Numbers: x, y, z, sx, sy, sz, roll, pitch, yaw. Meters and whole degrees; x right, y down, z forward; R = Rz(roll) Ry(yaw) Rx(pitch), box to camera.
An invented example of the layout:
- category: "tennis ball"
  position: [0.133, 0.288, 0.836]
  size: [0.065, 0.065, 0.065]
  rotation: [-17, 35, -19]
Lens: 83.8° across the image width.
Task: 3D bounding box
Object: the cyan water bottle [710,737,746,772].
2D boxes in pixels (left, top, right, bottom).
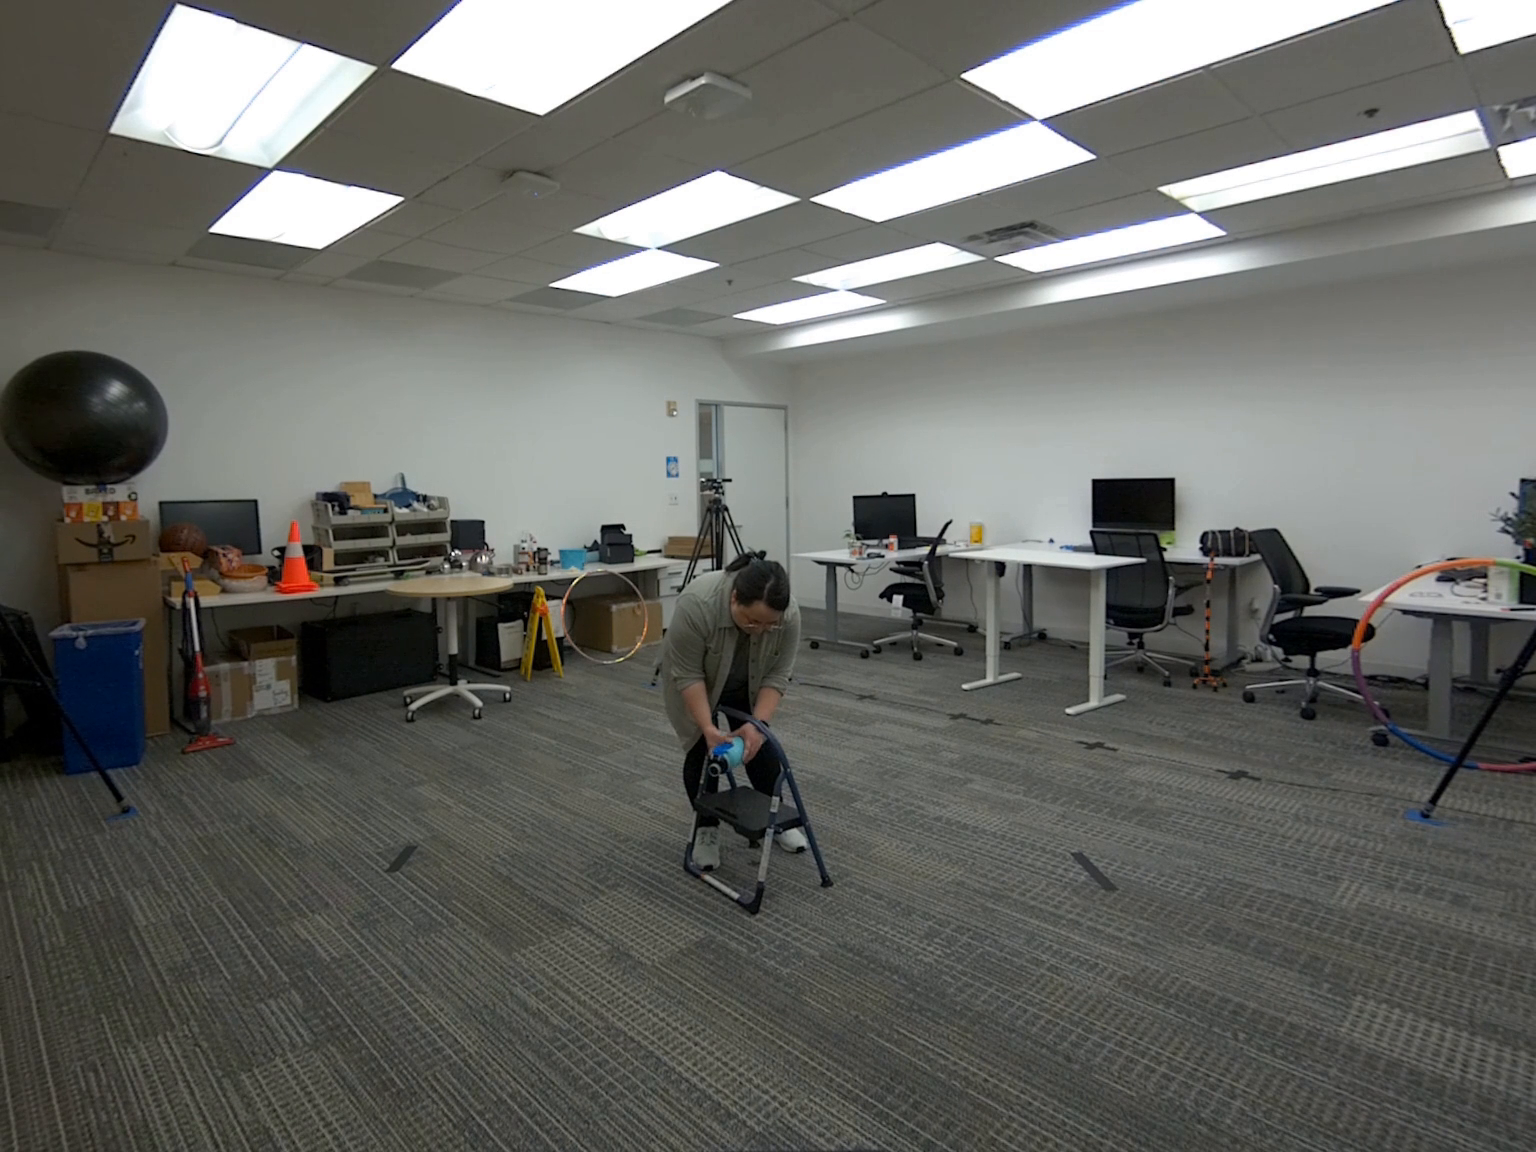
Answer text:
- category: "cyan water bottle"
  position: [-0.115, 0.614, 2.938]
  size: [0.094, 0.092, 0.278]
  rotation: [1, 8, 25]
